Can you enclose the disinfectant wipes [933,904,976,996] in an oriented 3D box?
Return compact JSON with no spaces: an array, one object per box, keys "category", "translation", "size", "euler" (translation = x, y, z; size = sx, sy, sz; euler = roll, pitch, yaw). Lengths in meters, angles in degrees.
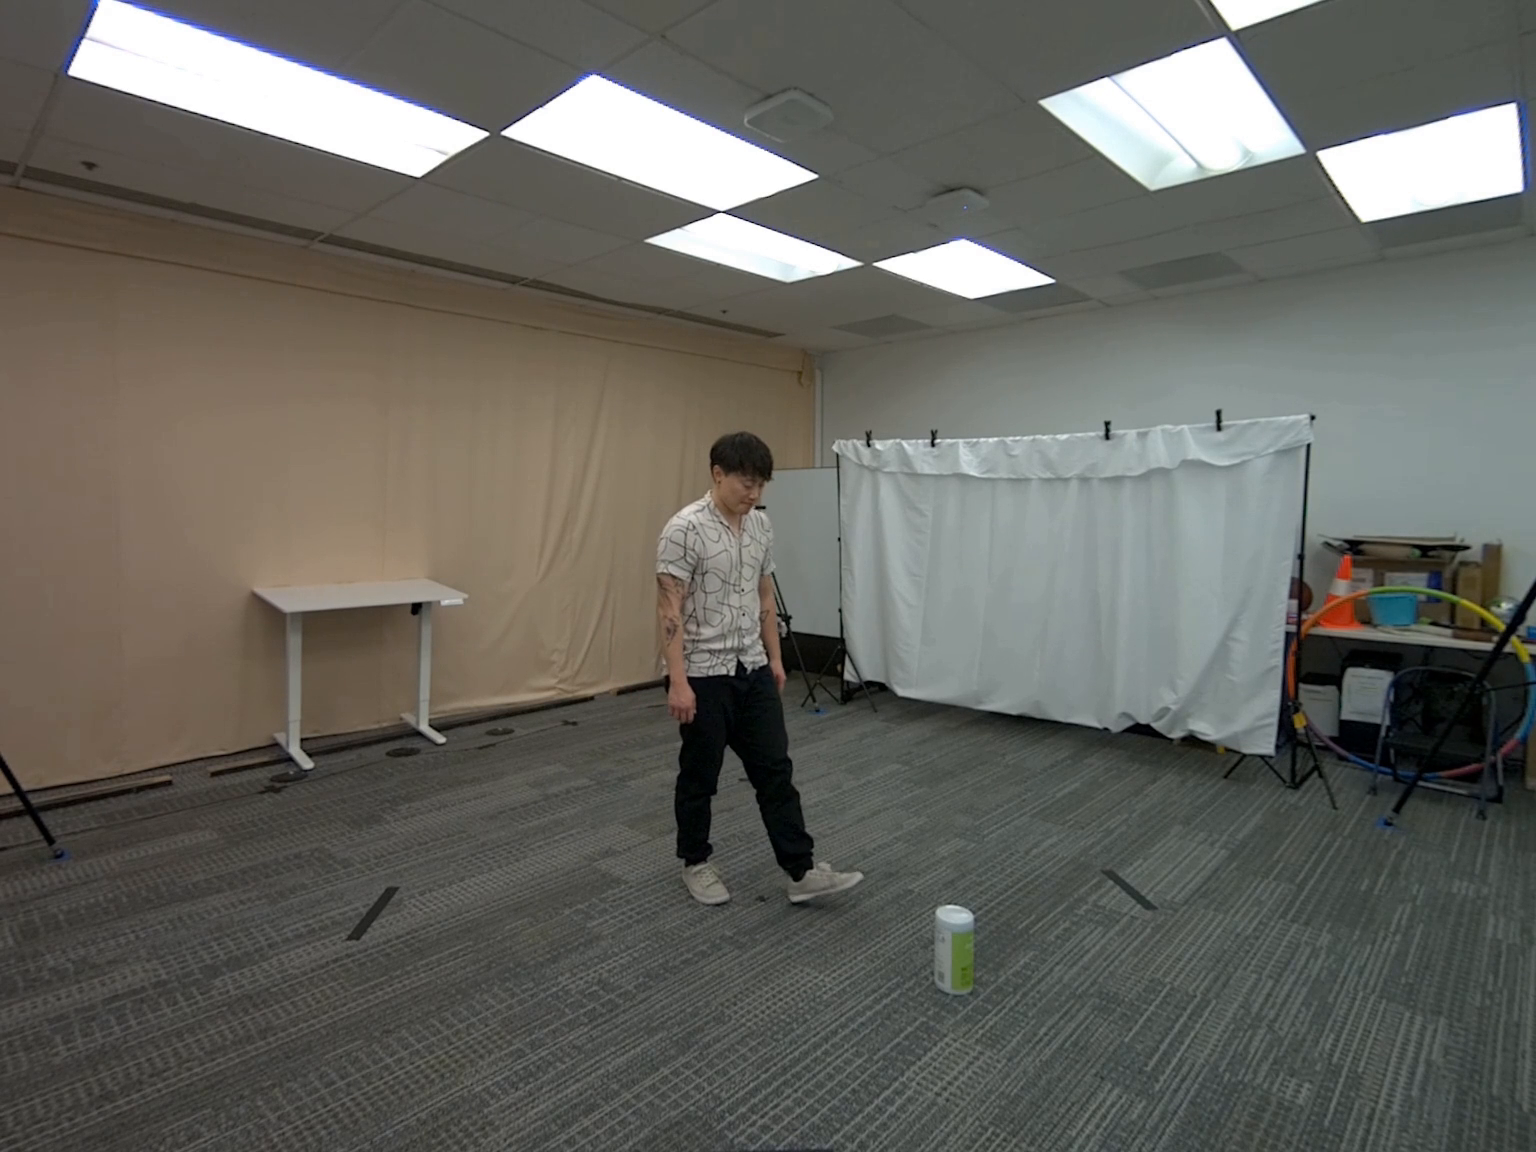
[{"category":"disinfectant wipes","translation":[0.544,1.087,2.429],"size":[0.118,0.217,0.118],"euler":[0,2,-2]}]
